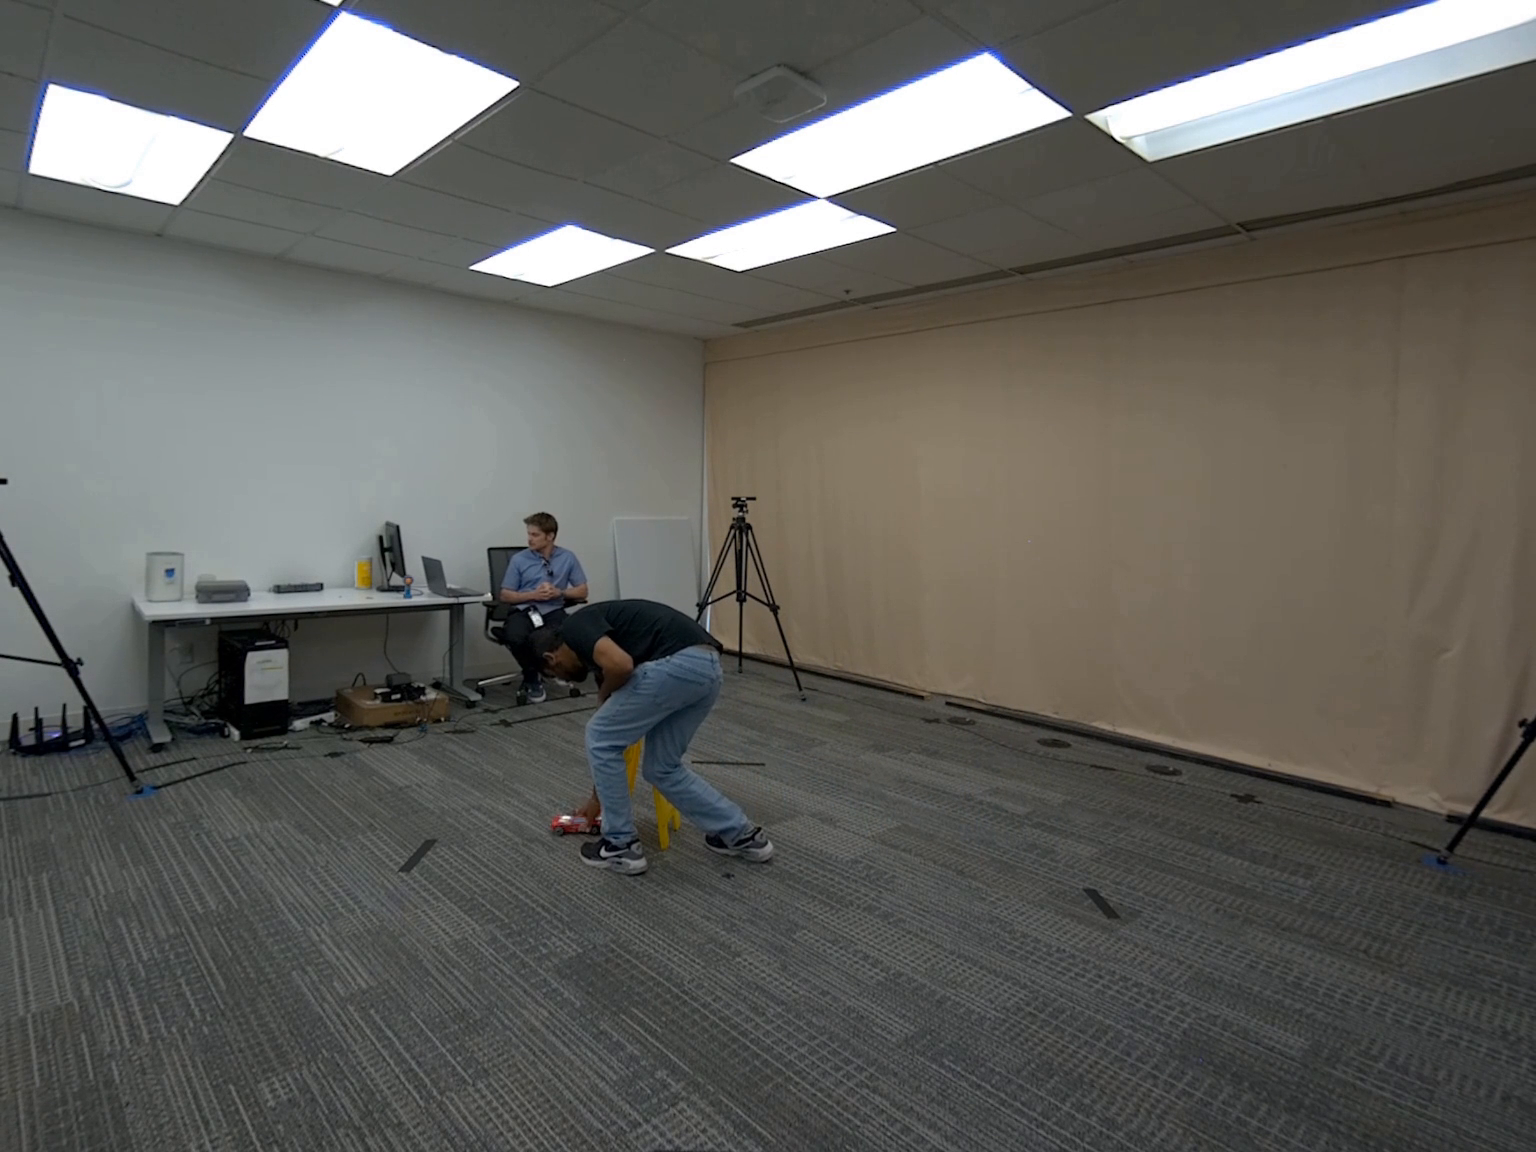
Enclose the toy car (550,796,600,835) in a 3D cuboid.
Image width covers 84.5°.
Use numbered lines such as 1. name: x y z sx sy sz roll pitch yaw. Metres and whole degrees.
1. toy car: -0.772 1.018 3.498 0.254 0.083 0.131 -11 6 -3
